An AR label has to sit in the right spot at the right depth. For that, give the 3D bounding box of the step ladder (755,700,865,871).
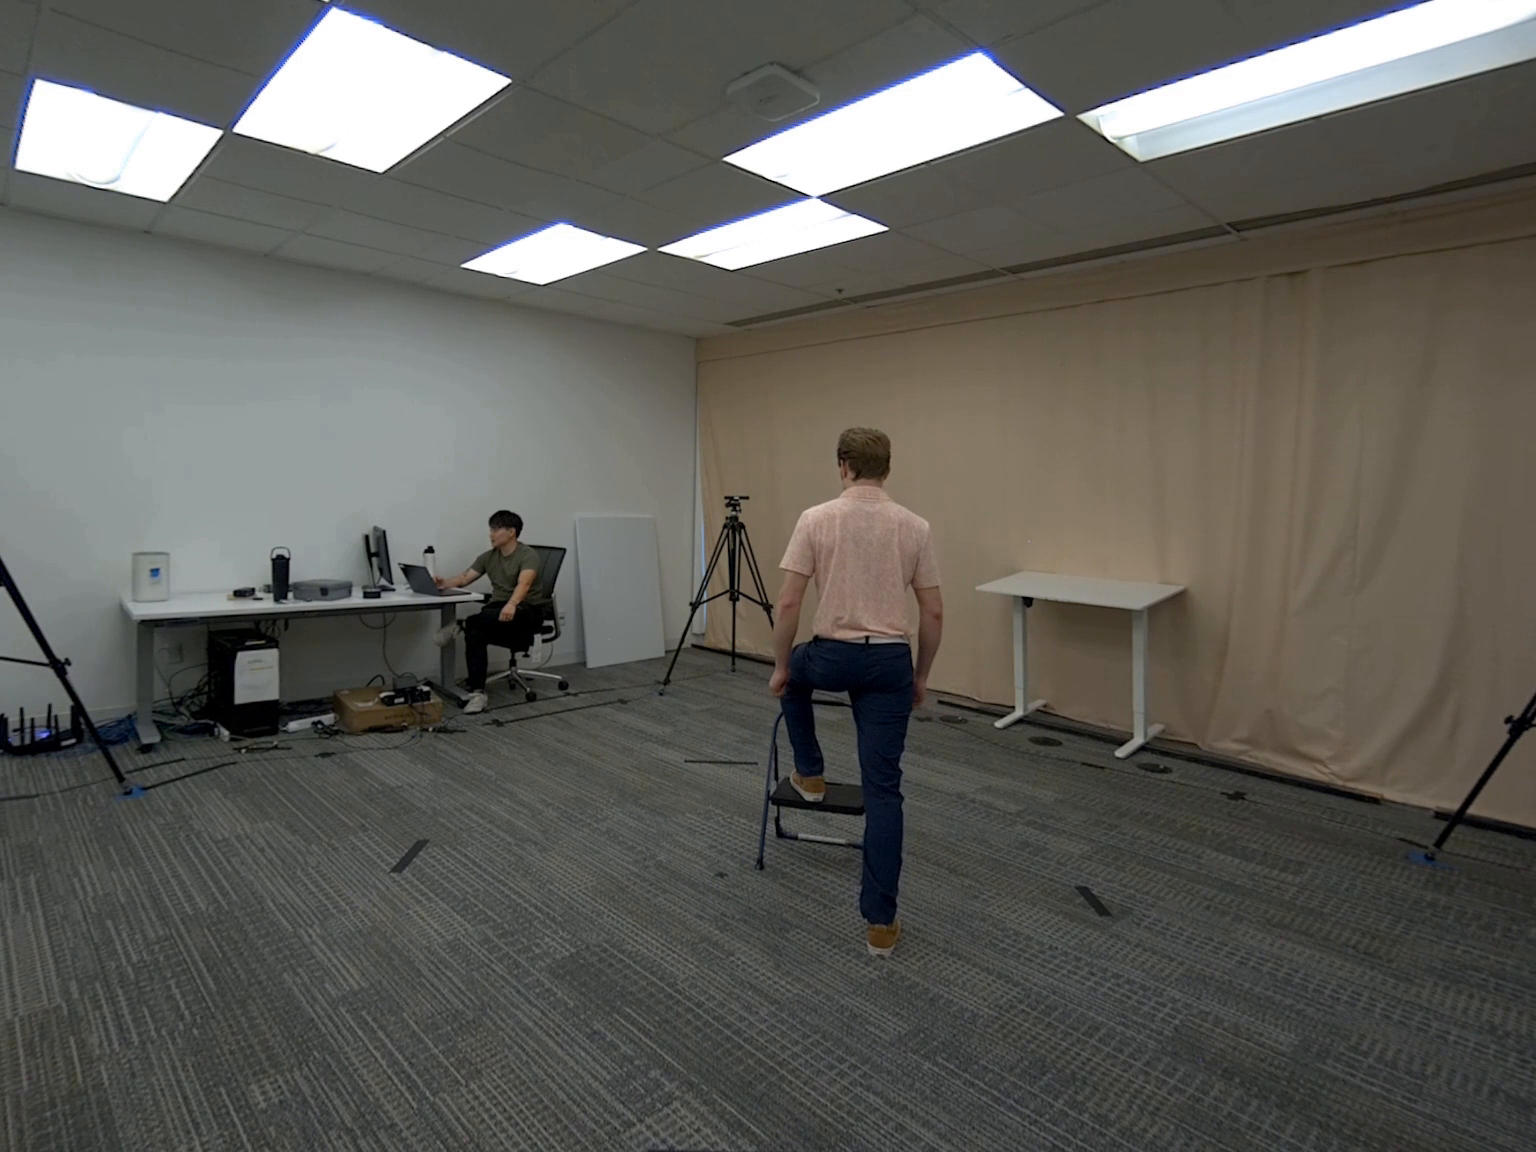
[{"bbox_3d":[0.199,0.798,3.253,0.436,0.605,0.346,3,3,15],"label":"step ladder"}]
